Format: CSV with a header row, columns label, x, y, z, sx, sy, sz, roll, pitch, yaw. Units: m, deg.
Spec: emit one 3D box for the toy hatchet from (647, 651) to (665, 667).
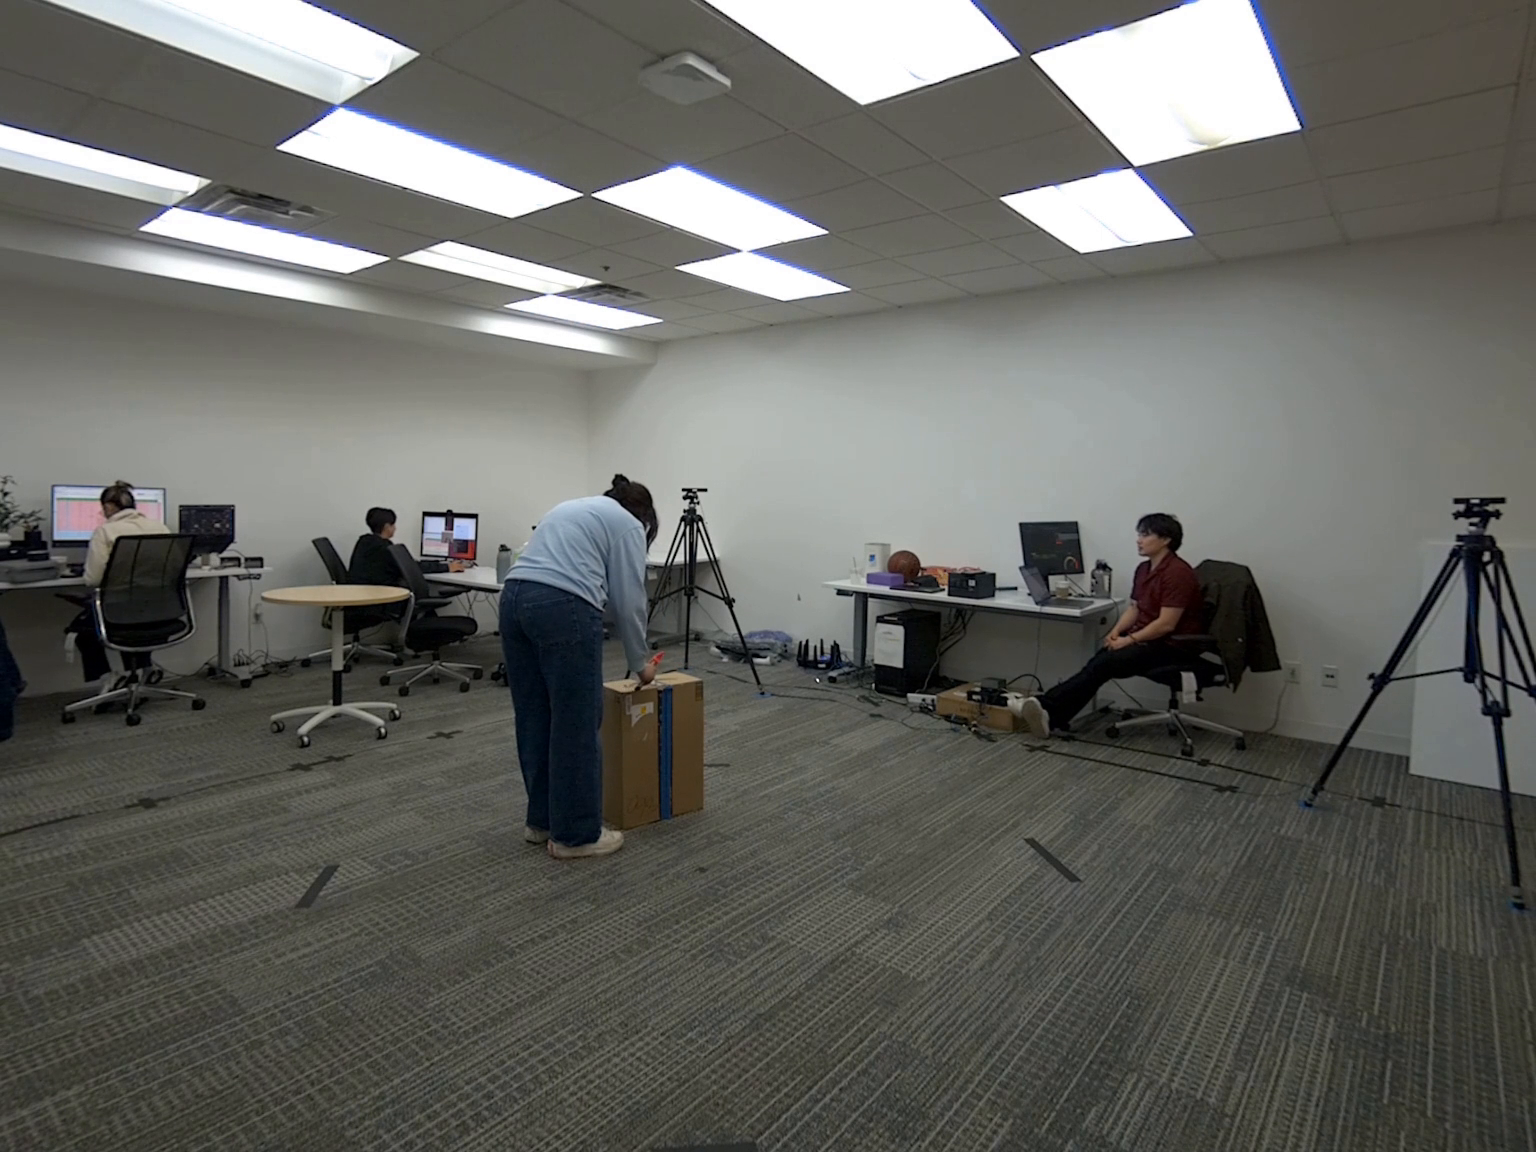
label,x,y,z,sx,sy,sz,roll,pitch,yaw
toy hatchet,-0.517,0.402,3.470,0.131,0.029,0.270,-40,7,24
